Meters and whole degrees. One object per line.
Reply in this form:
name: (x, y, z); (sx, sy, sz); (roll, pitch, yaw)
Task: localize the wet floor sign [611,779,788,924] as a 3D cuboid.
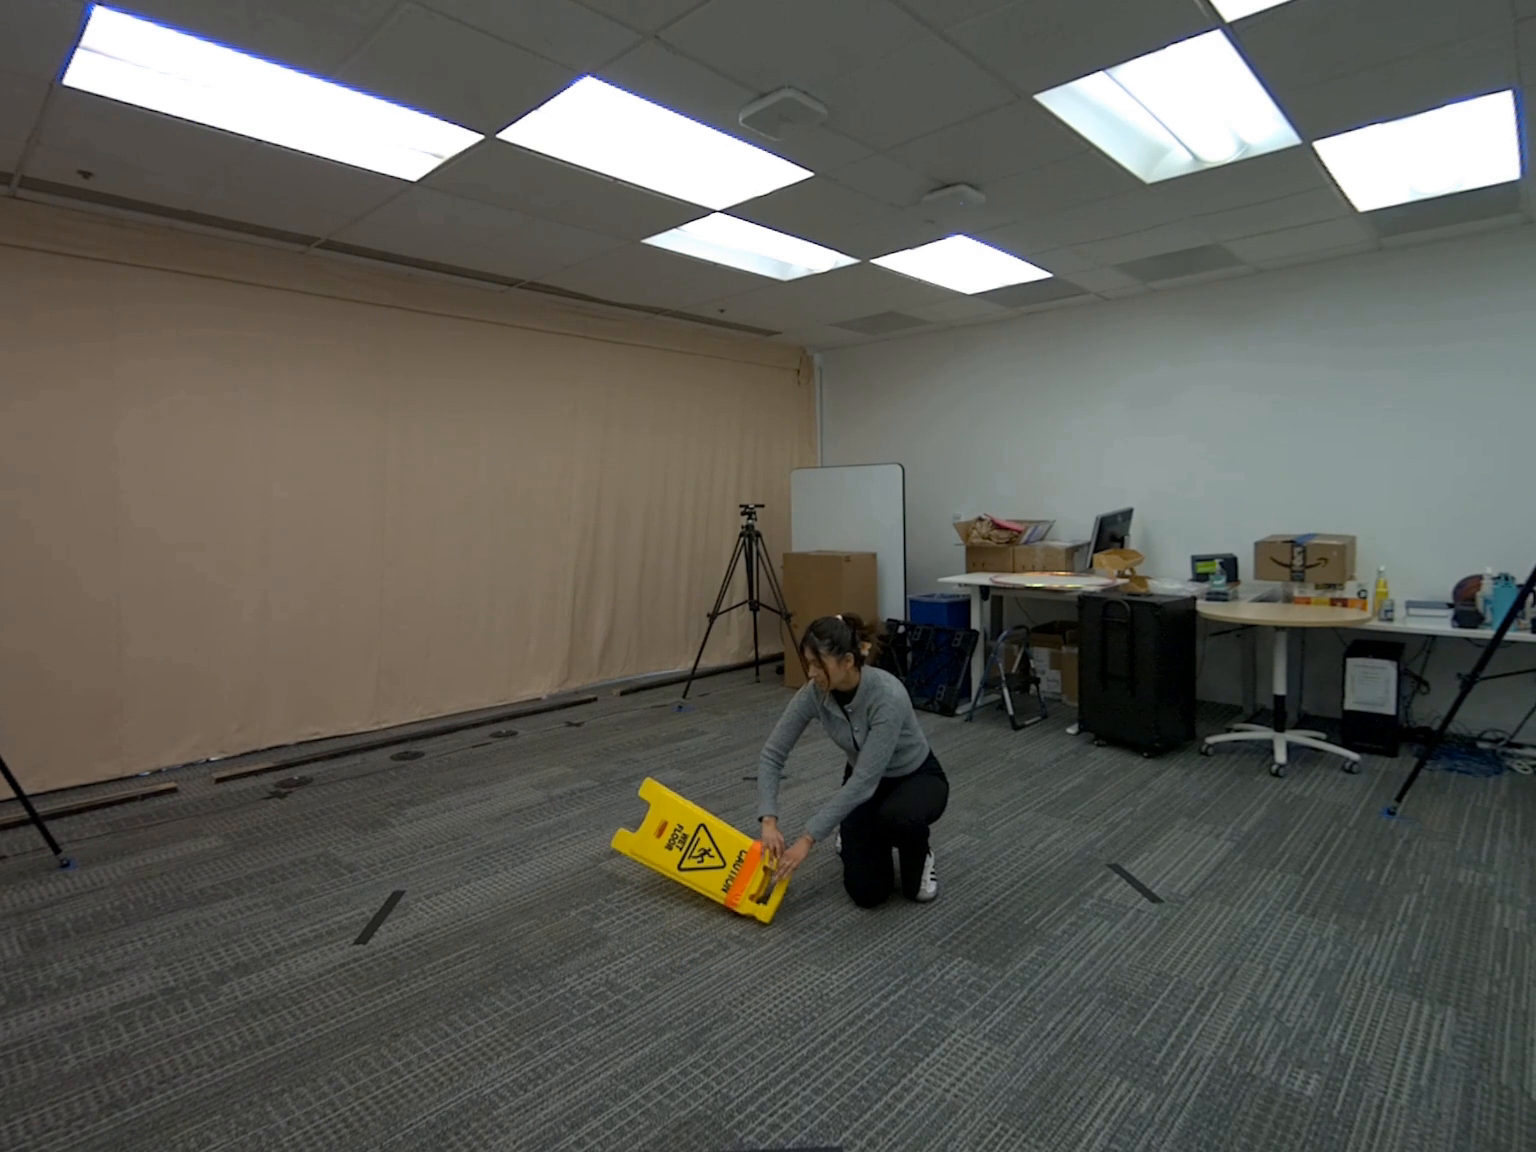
wet floor sign: (-0.204, 1.006, 3.008); (0.669, 0.282, 0.279); (13, -23, 40)
